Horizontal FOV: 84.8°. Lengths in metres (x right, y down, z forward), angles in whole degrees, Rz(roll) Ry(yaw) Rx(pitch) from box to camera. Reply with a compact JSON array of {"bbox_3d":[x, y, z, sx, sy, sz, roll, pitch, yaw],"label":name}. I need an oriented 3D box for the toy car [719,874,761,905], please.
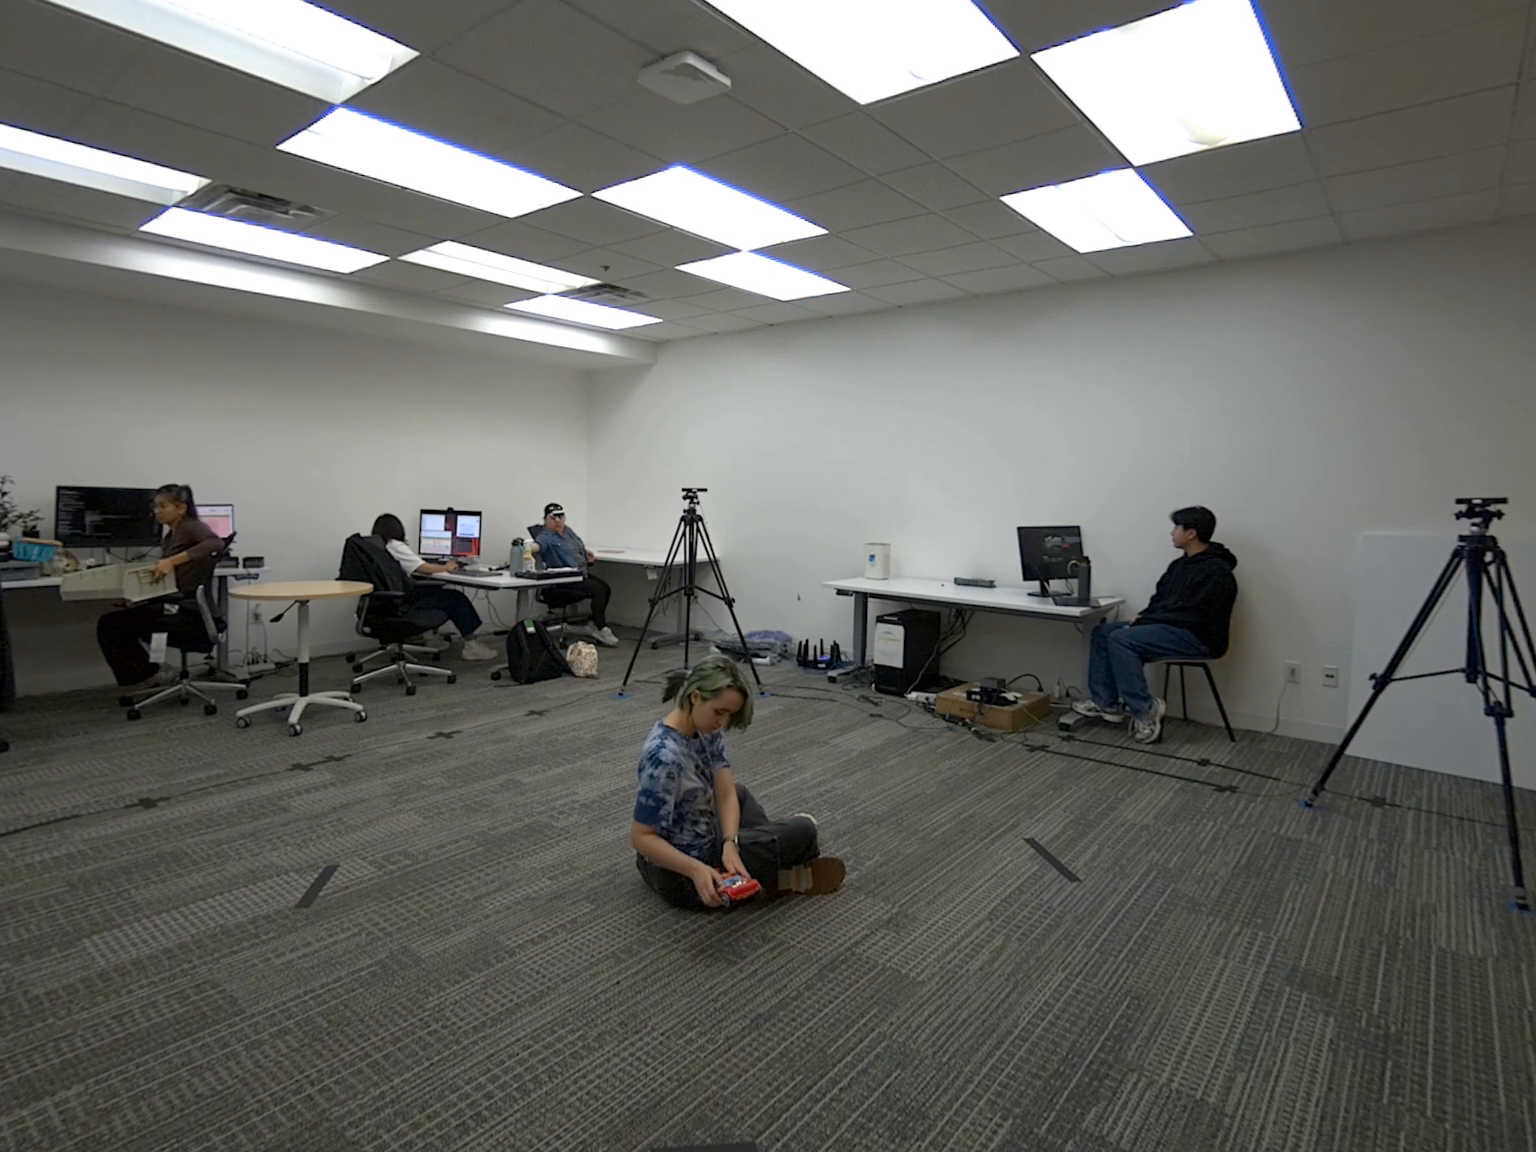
[{"bbox_3d":[-0.134,0.947,2.590,0.127,0.083,0.260,-6,-3,-30],"label":"toy car"}]
